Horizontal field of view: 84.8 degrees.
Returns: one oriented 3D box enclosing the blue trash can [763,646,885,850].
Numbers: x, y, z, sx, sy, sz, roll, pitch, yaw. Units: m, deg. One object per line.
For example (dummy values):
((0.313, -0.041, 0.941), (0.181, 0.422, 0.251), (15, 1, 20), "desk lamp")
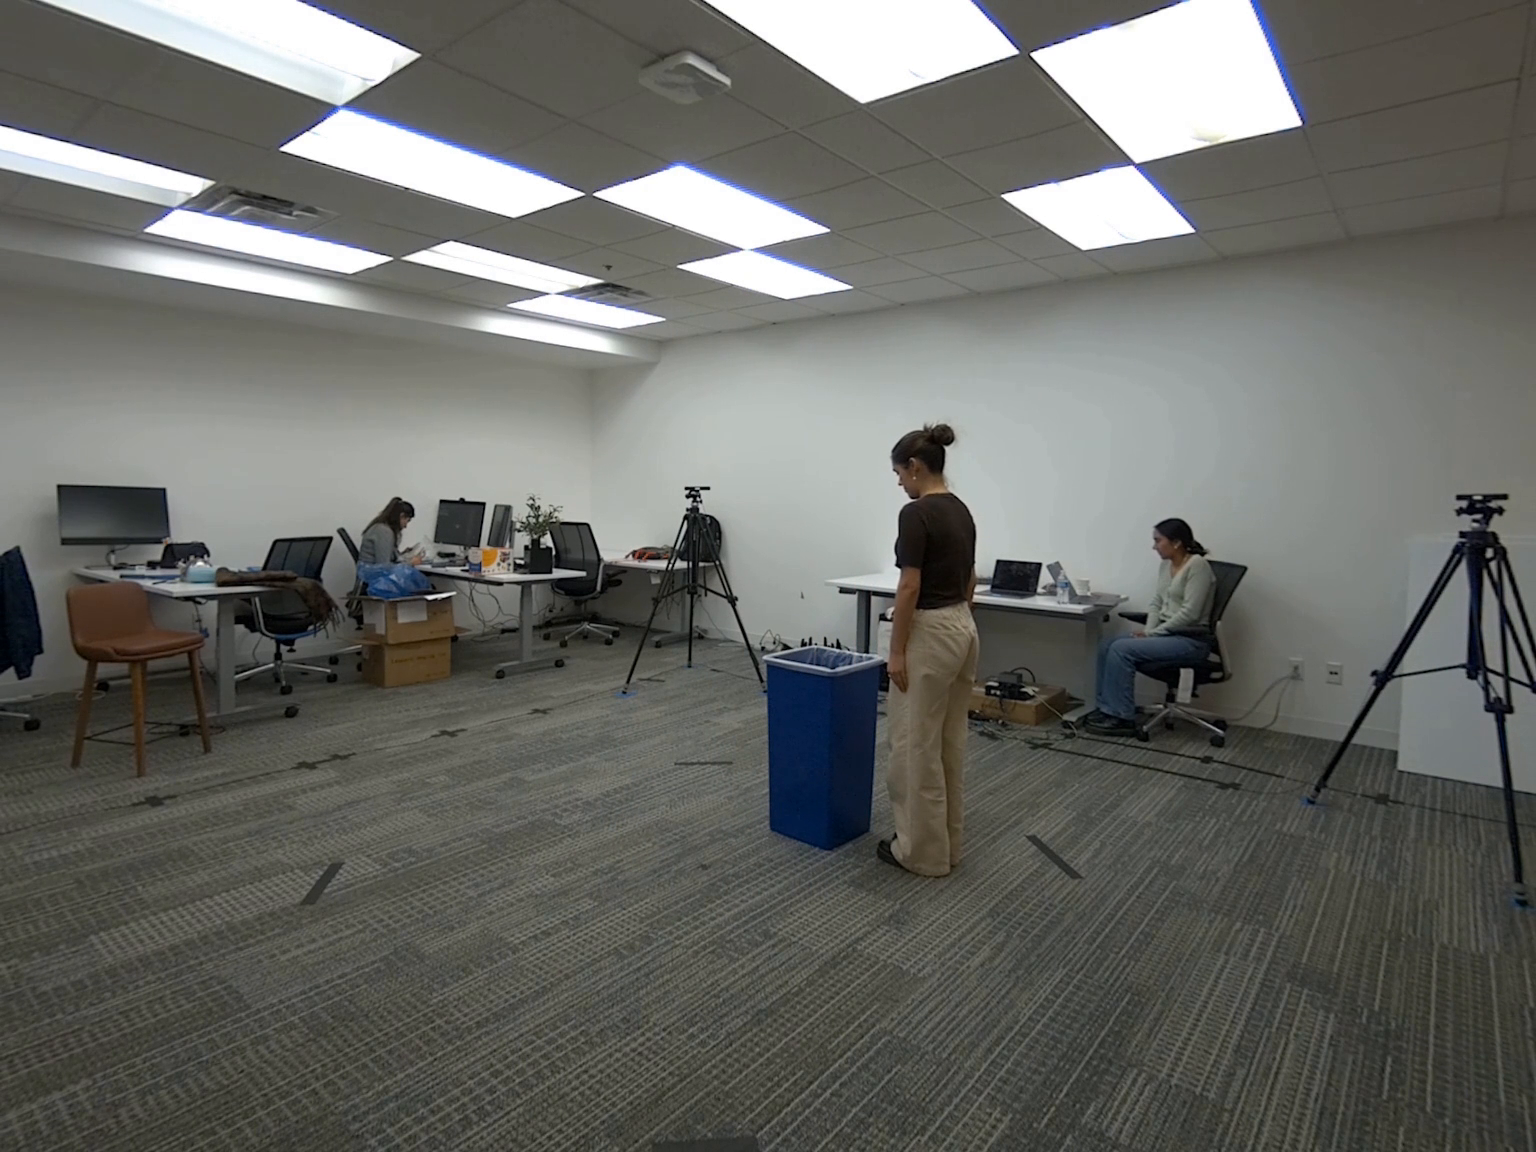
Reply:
((0.201, 0.678, 3.464), (0.387, 0.711, 0.367), (4, 5, 41), "blue trash can")
